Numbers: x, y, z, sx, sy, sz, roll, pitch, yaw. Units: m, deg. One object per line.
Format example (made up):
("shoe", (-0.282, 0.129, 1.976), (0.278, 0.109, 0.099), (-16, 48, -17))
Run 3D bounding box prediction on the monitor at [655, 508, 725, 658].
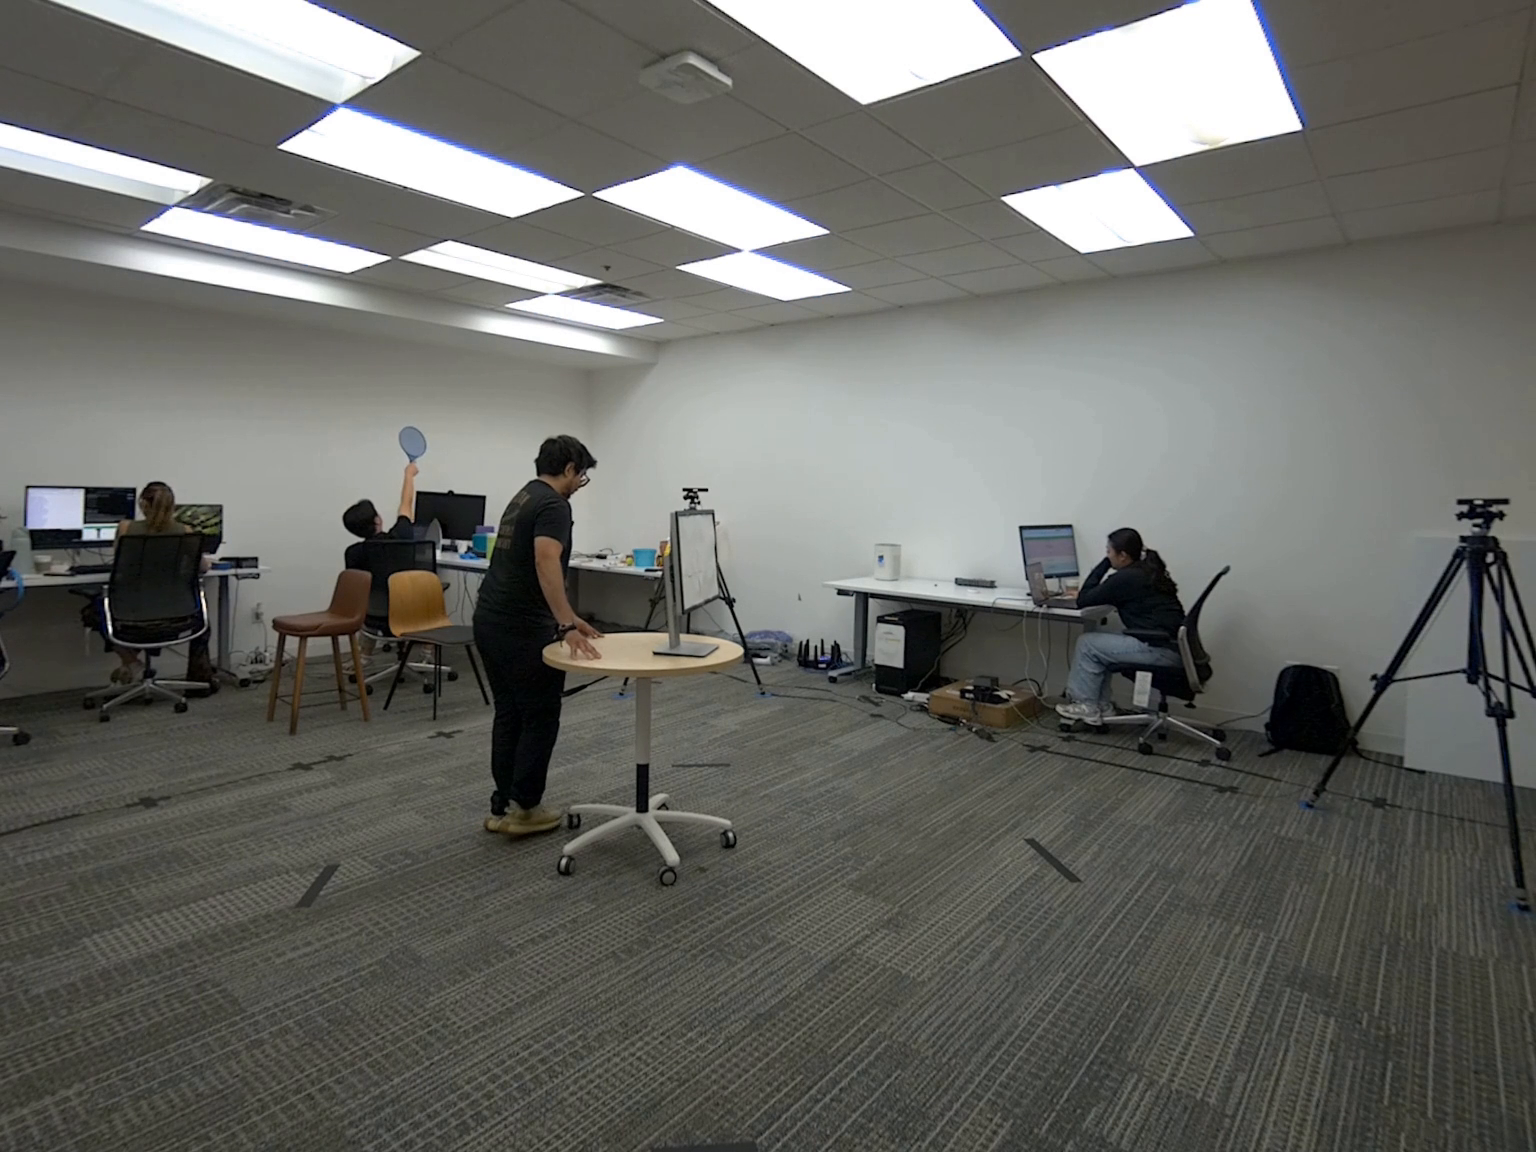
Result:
("monitor", (-0.341, 0.021, 3.235), (0.213, 0.553, 0.559), (-2, 3, 11))
